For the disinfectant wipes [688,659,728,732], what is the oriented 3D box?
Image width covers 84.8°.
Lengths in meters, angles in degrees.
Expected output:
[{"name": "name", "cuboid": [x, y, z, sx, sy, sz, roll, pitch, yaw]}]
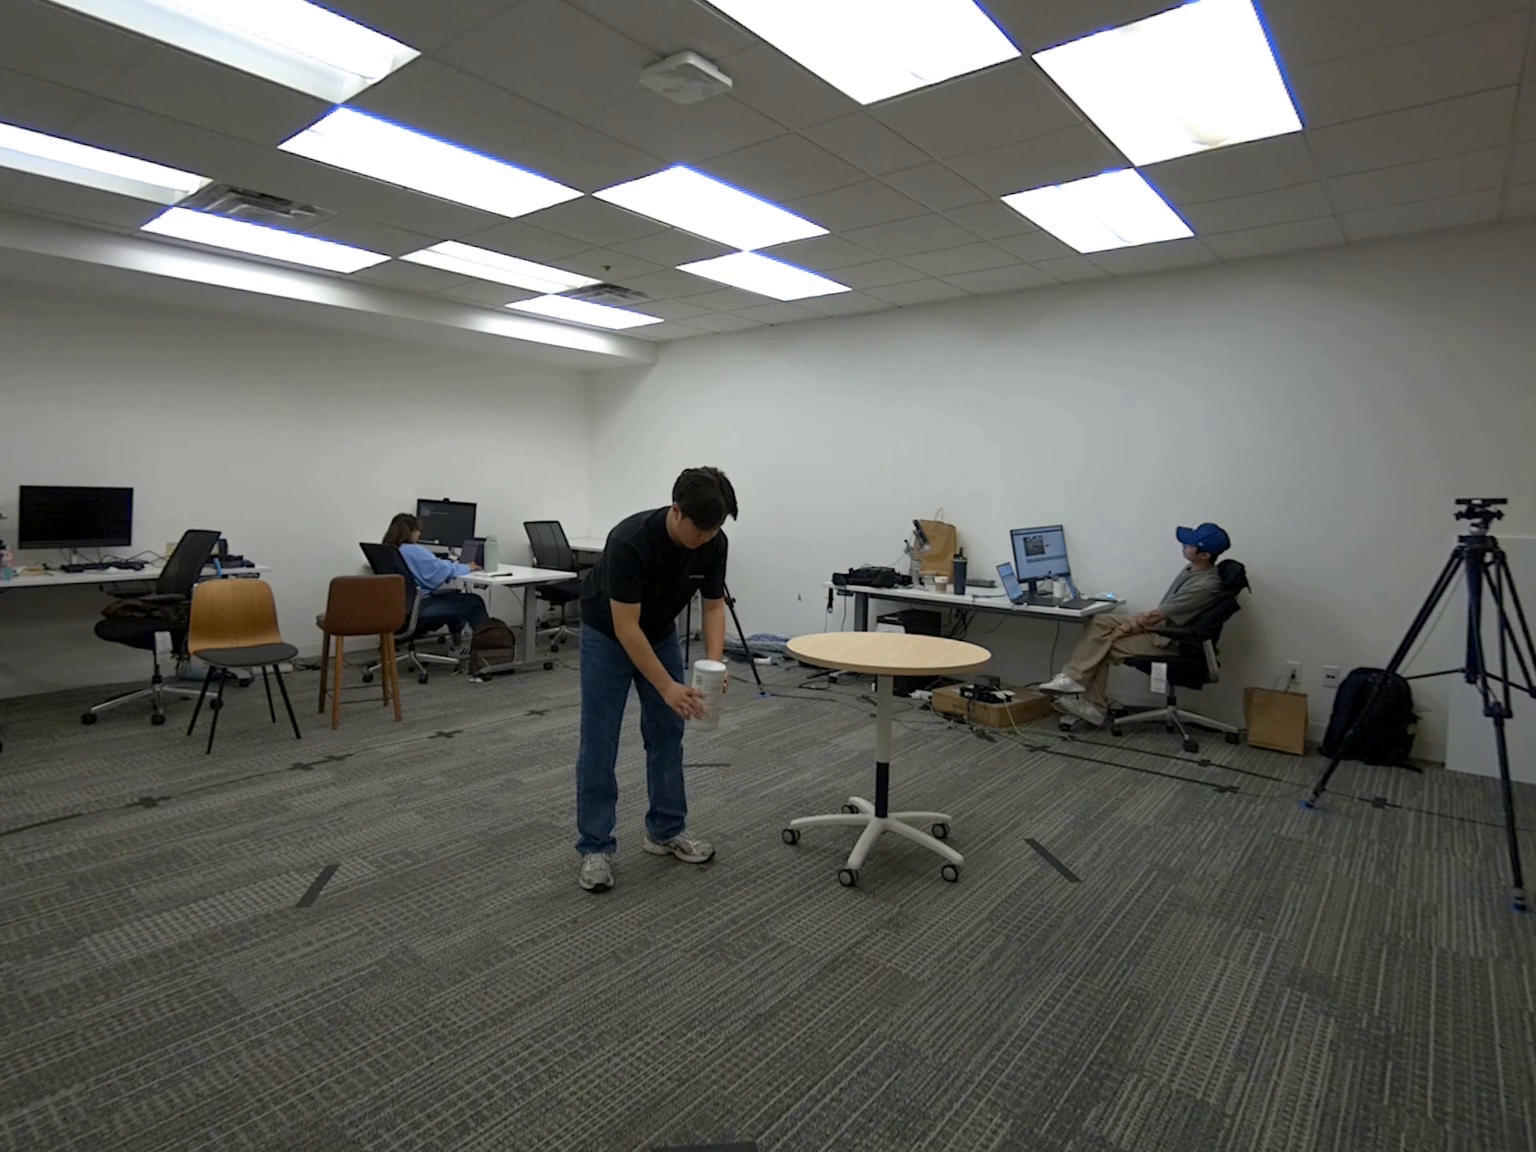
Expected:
[{"name": "disinfectant wipes", "cuboid": [-0.217, 0.397, 2.821, 0.117, 0.216, 0.119, 6, 9, -3]}]
